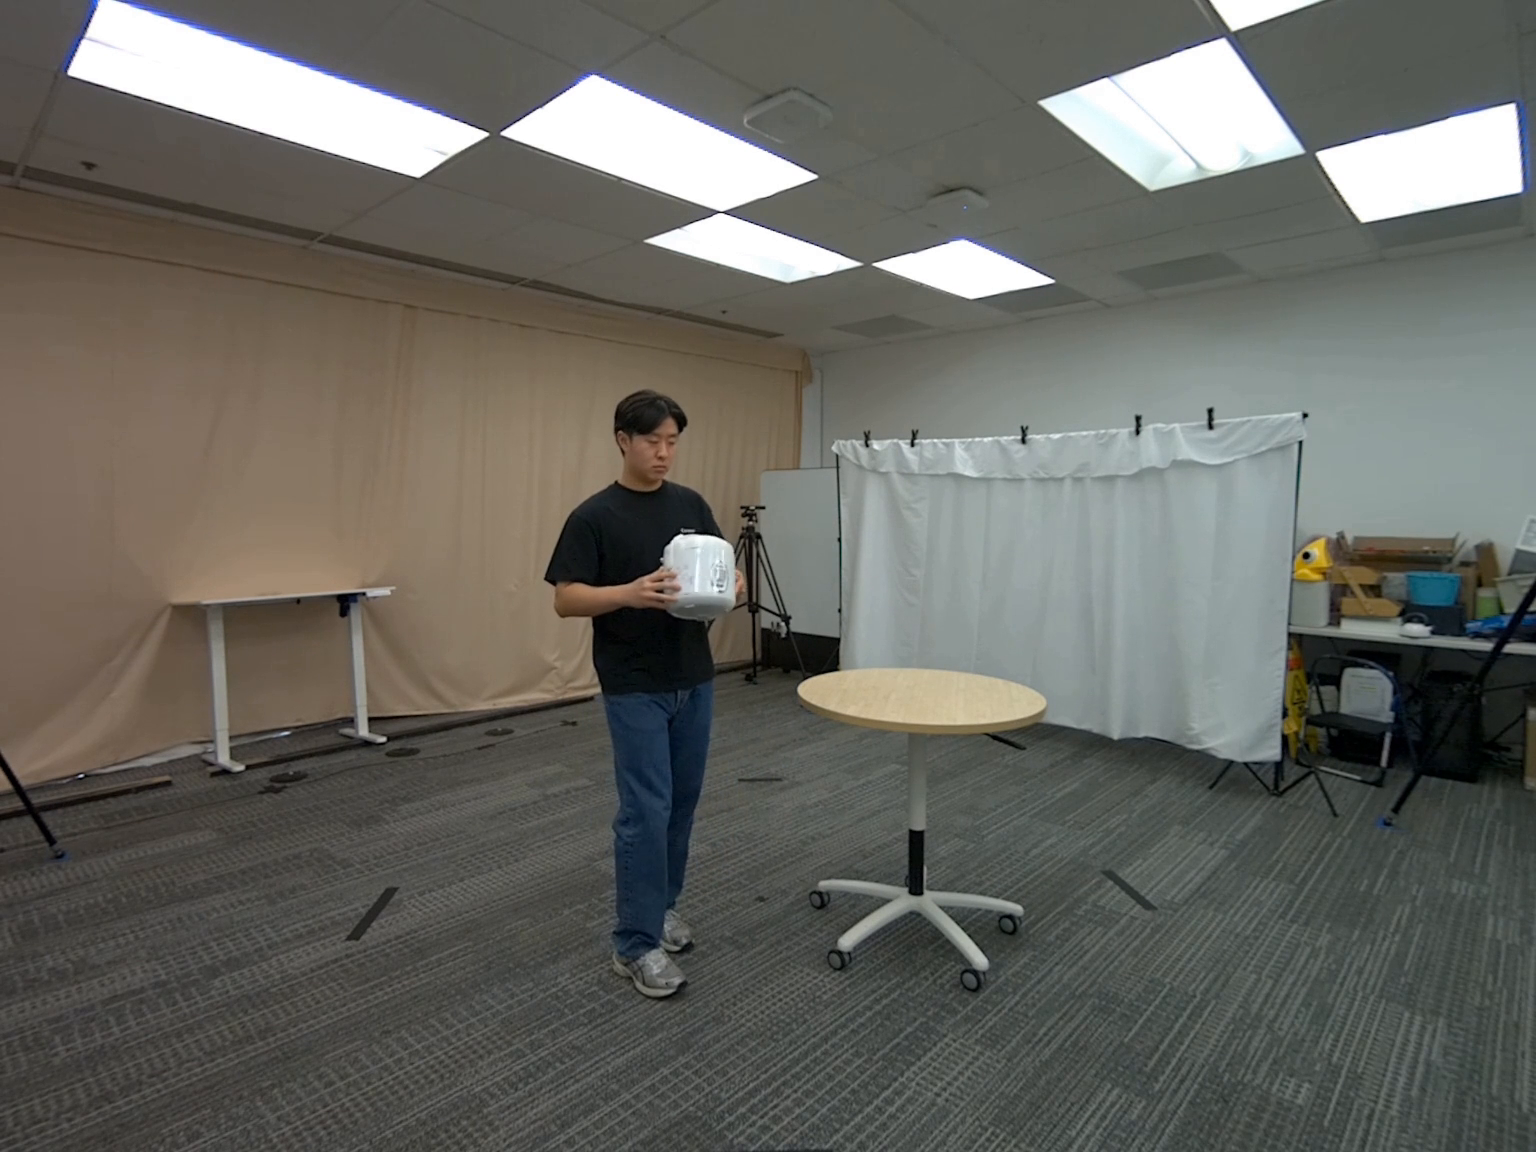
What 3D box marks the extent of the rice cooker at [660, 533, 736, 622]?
[{"bbox_3d":[-0.198,-0.006,2.419,0.213,0.235,0.222,9,-22,-35],"label":"rice cooker"}]
